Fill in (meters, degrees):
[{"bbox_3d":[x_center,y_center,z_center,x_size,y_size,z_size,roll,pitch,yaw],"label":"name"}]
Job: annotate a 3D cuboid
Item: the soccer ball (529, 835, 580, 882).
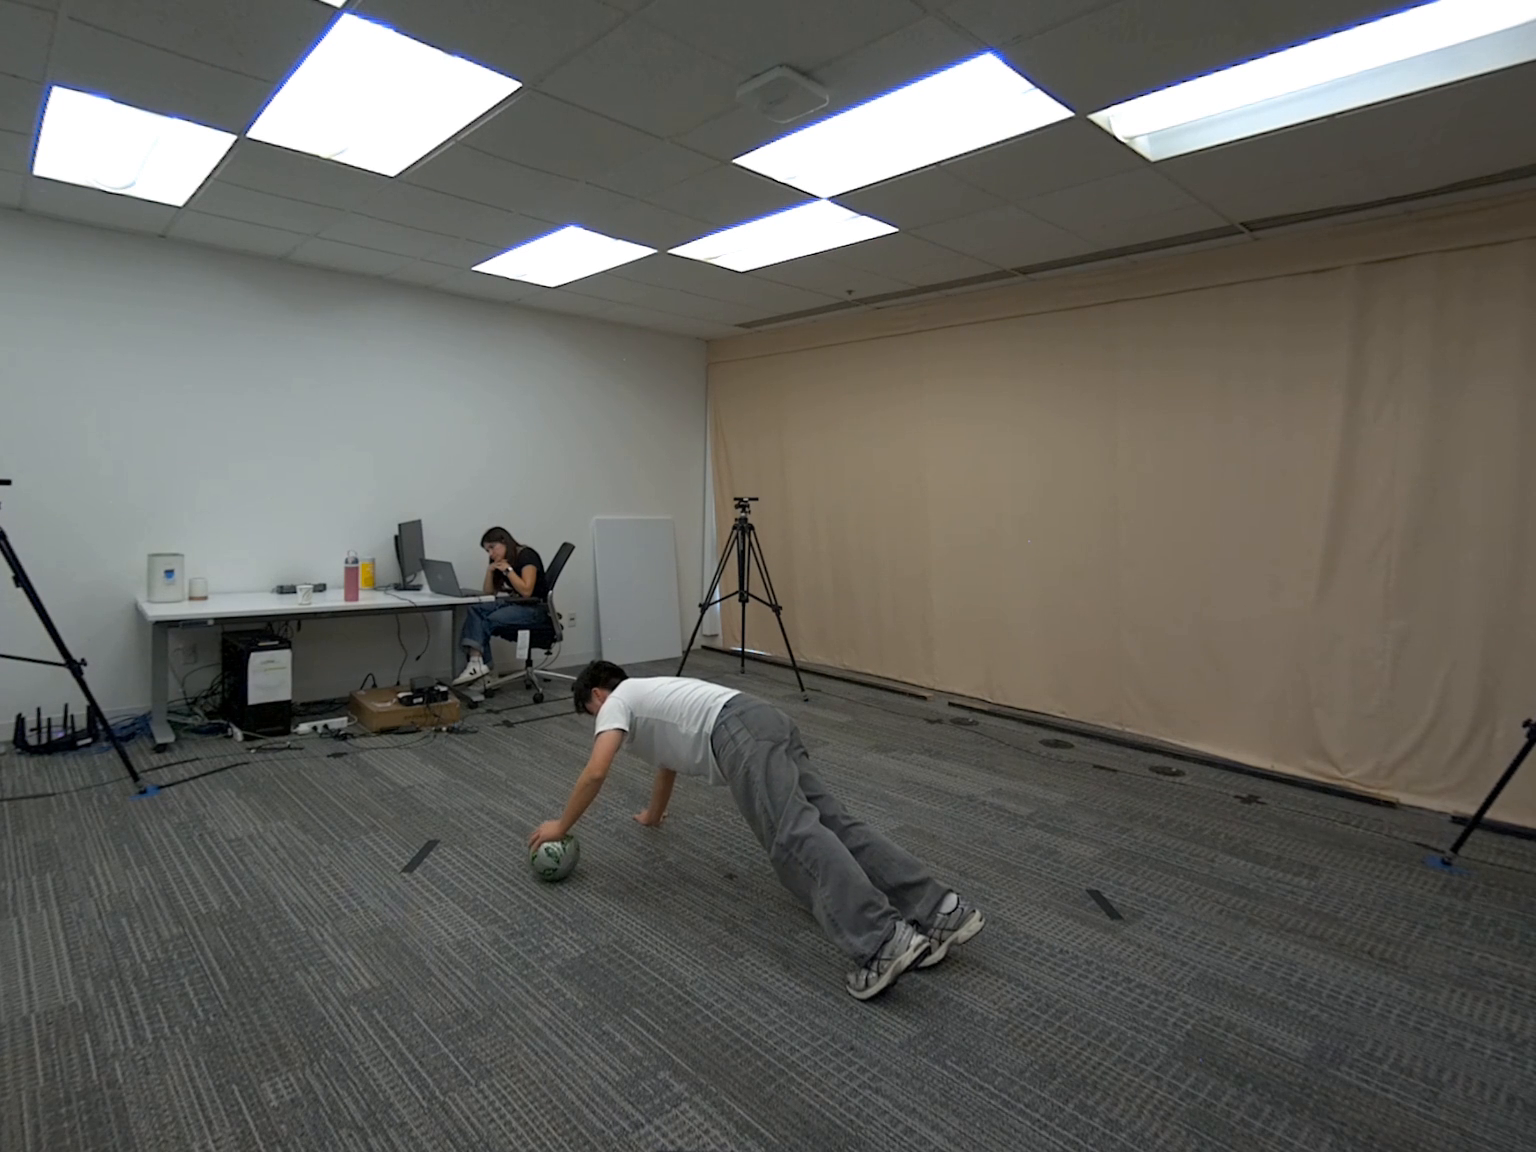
[{"bbox_3d":[-0.771,1.000,3.058,0.187,0.187,0.188,1,4,-1],"label":"soccer ball"}]
